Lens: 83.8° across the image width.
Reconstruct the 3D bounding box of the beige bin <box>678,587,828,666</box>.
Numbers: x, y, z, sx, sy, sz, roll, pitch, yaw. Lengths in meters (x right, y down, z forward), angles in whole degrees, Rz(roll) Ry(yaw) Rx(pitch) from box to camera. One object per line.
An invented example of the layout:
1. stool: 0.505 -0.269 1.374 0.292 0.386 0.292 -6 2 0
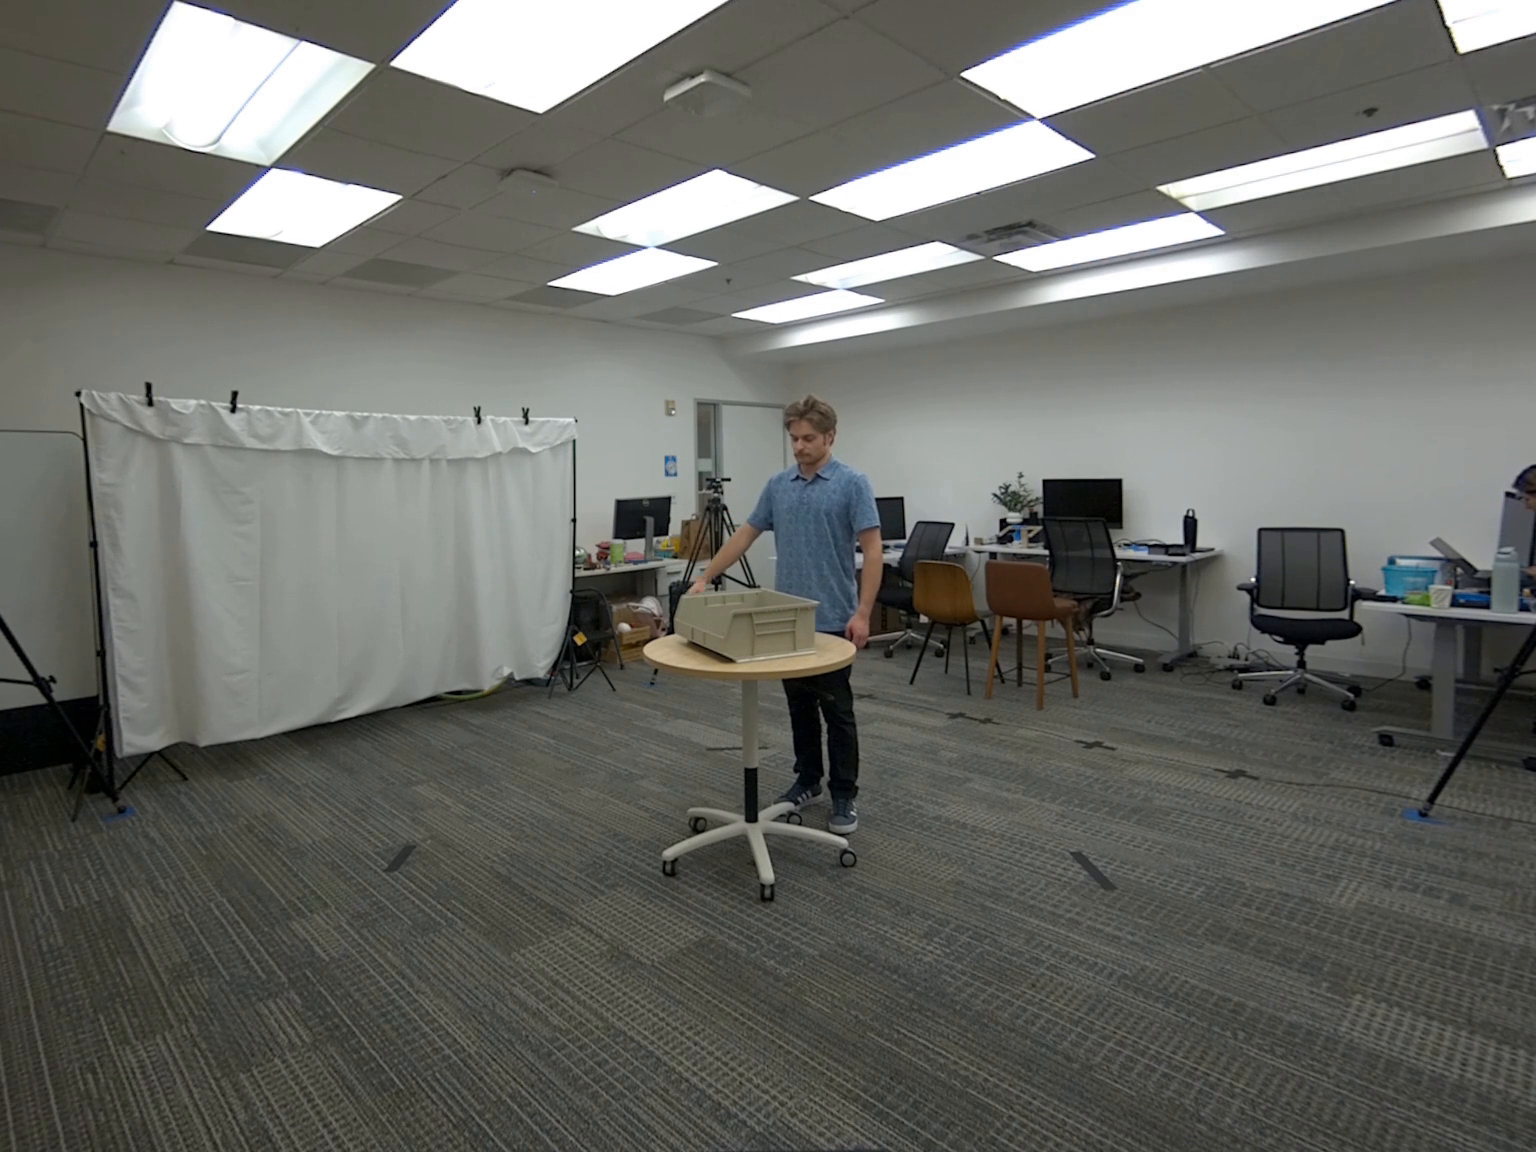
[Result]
1. beige bin: -0.065 0.168 3.066 0.369 0.188 0.434 -3 6 -28
